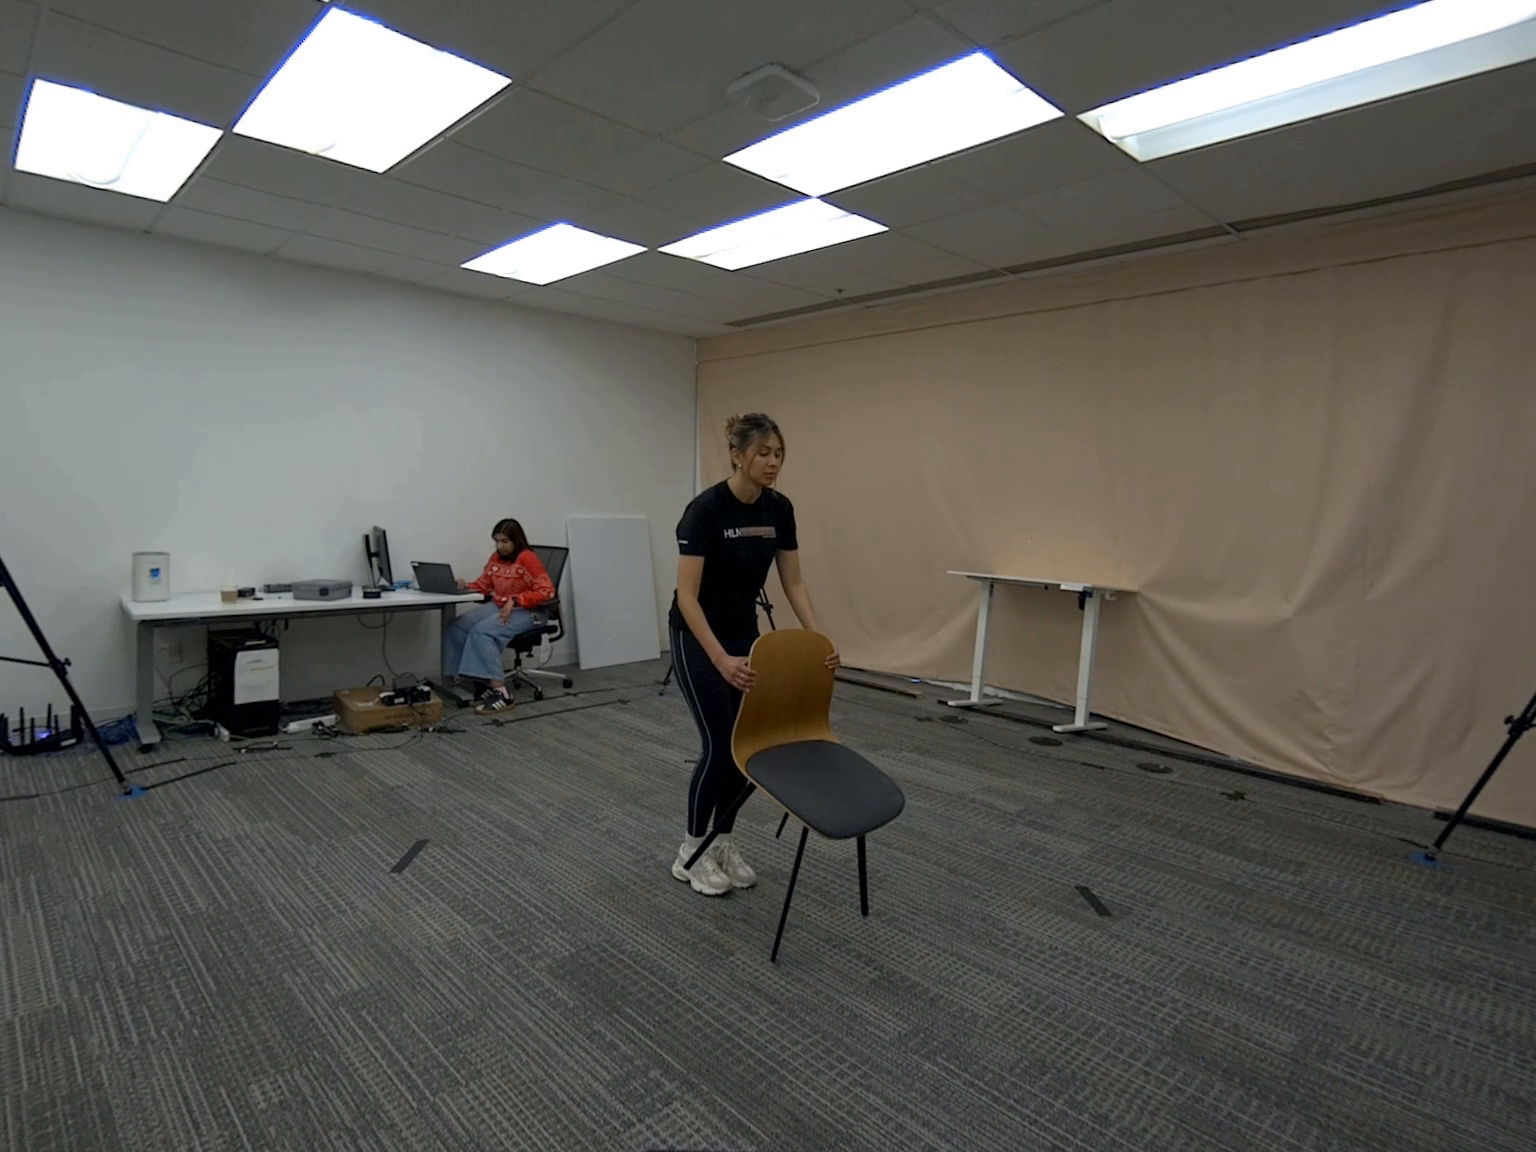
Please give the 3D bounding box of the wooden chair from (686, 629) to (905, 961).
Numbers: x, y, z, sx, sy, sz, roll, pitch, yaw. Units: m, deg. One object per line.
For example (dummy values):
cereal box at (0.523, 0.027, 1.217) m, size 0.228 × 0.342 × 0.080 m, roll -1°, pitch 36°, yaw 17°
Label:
wooden chair at (0.133, 0.678, 2.694) m, size 0.467 × 0.870 × 0.539 m, roll -2°, pitch 19°, yaw -44°
